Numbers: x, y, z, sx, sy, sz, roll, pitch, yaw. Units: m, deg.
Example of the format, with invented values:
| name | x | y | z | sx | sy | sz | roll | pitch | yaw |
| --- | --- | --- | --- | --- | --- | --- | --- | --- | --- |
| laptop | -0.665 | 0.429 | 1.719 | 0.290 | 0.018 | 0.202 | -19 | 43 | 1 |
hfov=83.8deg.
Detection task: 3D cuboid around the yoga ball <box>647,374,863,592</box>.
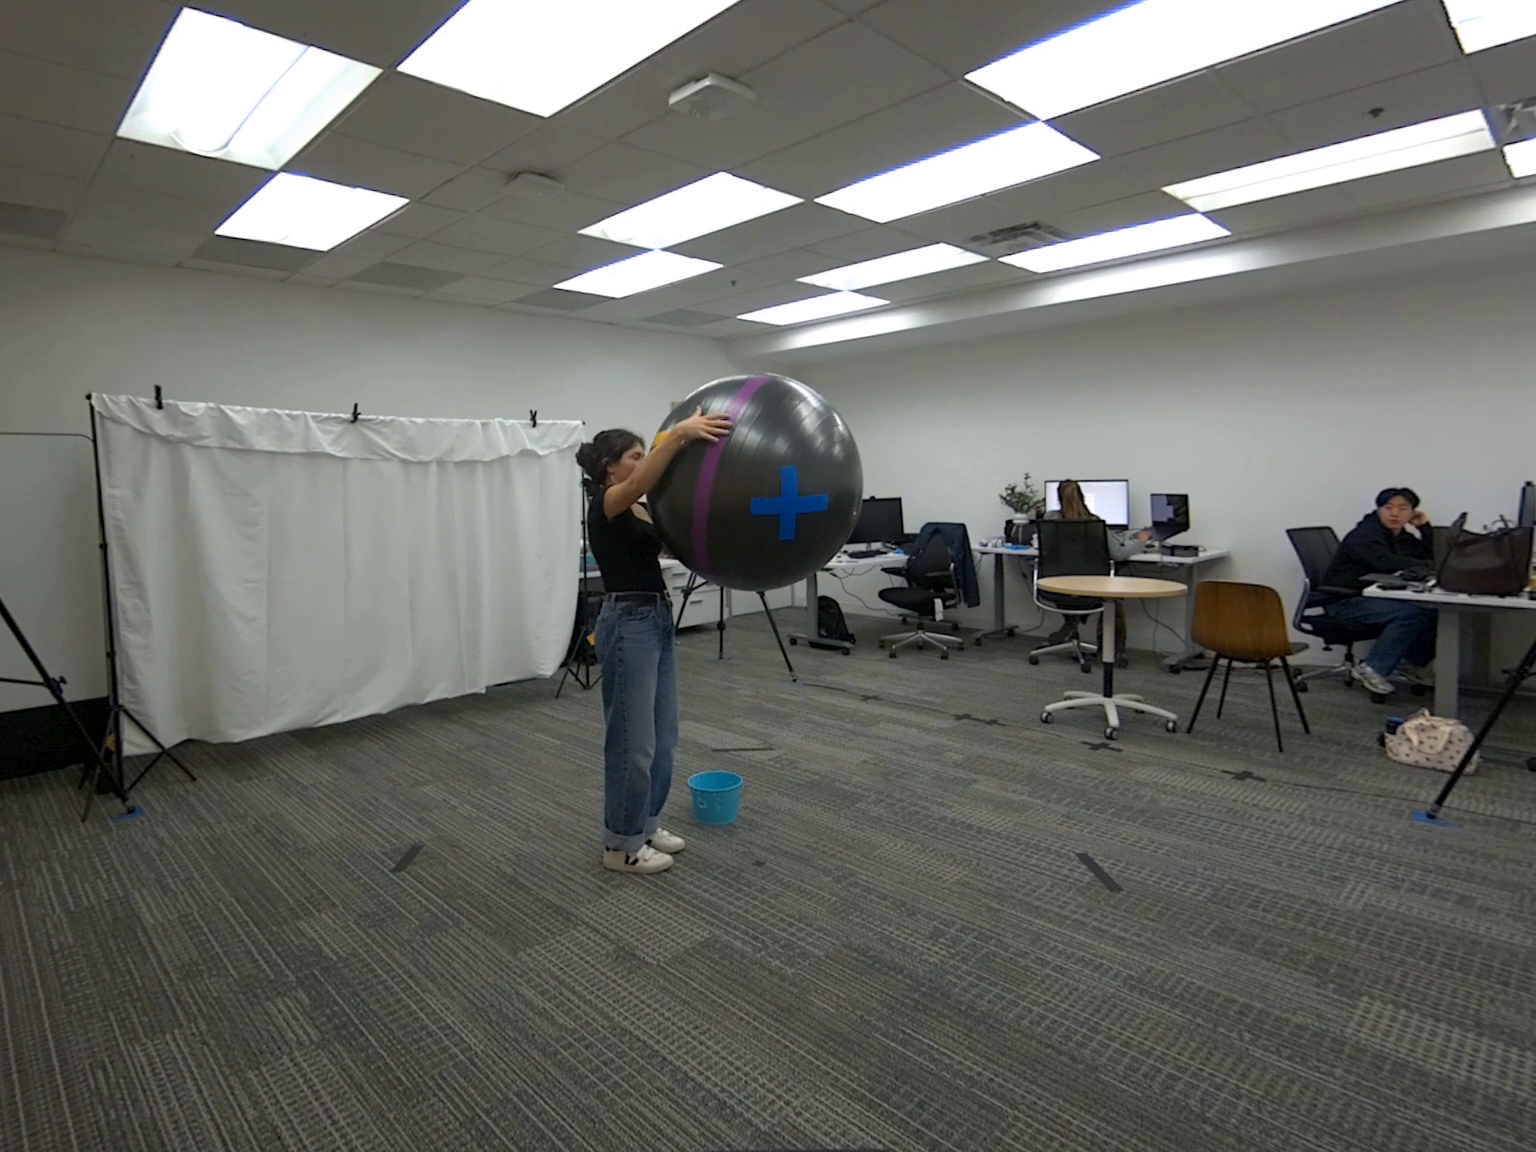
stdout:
| name | x | y | z | sx | sy | sz | roll | pitch | yaw |
| --- | --- | --- | --- | --- | --- | --- | --- | --- | --- |
| yoga ball | -0.044 | -0.316 | 2.982 | 0.757 | 0.755 | 0.762 | -1 | 5 | -2 |
